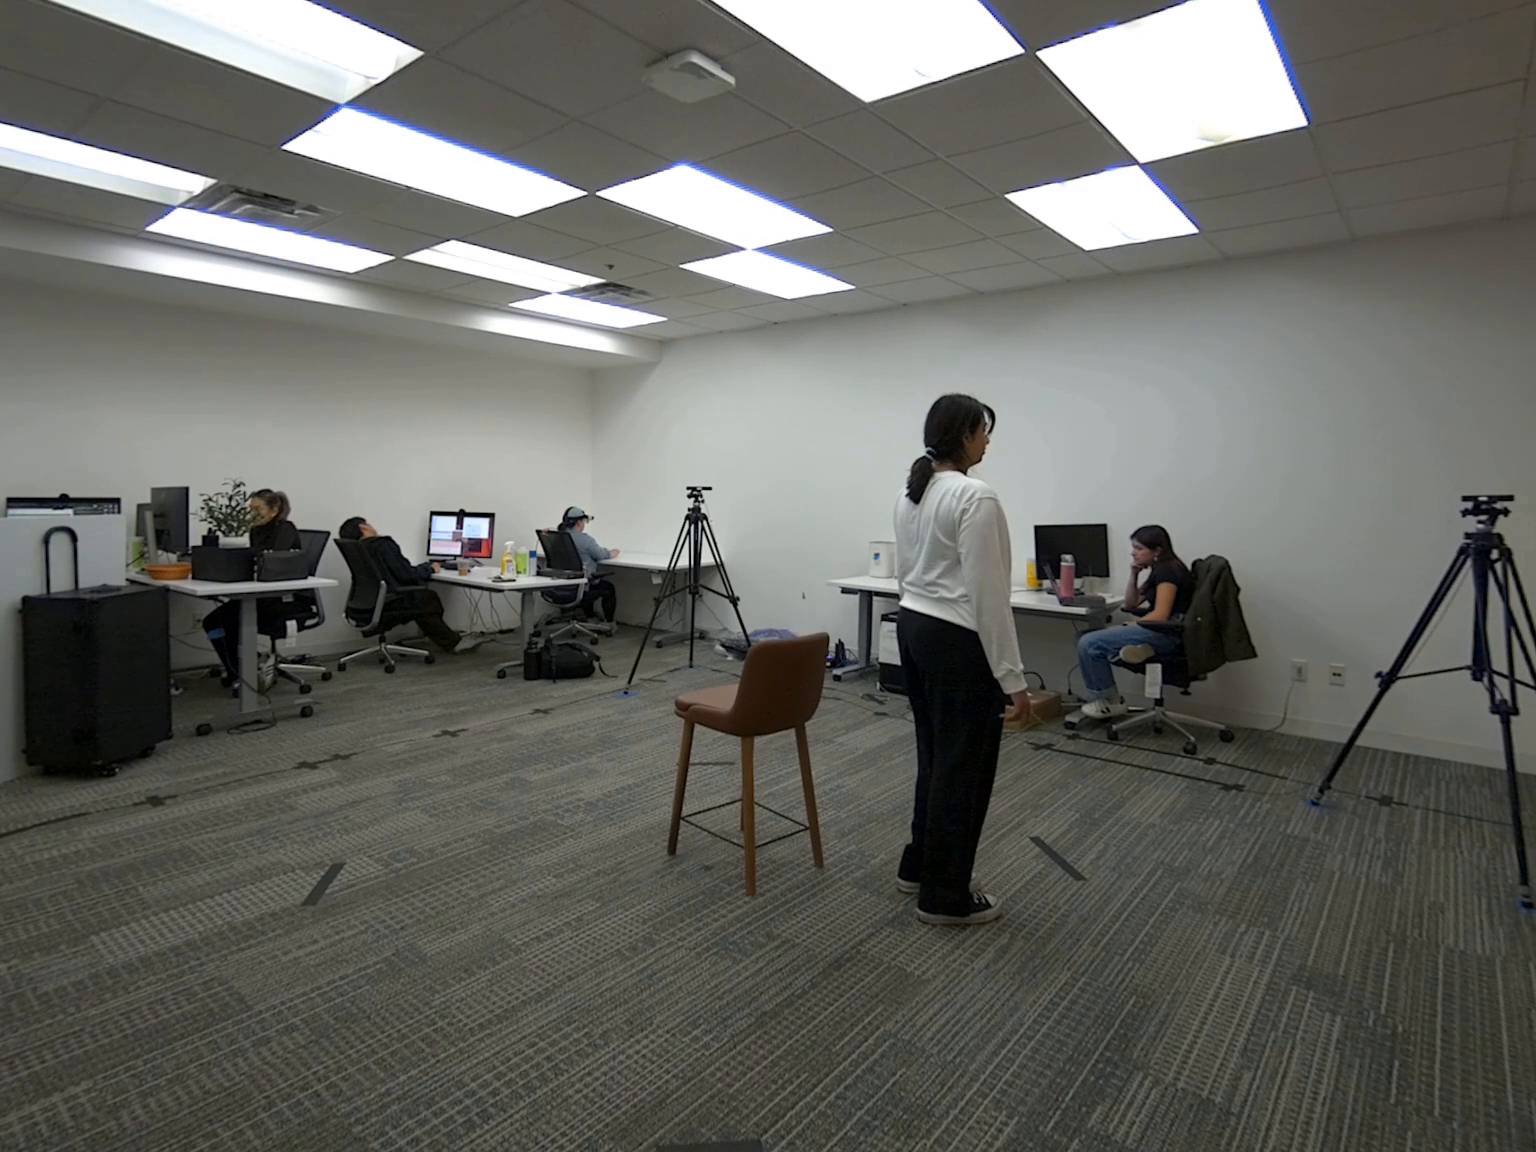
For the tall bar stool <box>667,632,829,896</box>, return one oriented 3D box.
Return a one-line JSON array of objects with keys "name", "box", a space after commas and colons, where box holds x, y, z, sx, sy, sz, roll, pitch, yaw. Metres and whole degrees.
[{"name": "tall bar stool", "box": [-0.067, 0.626, 3.161, 0.442, 0.886, 0.484, -1, 6, -42]}]
